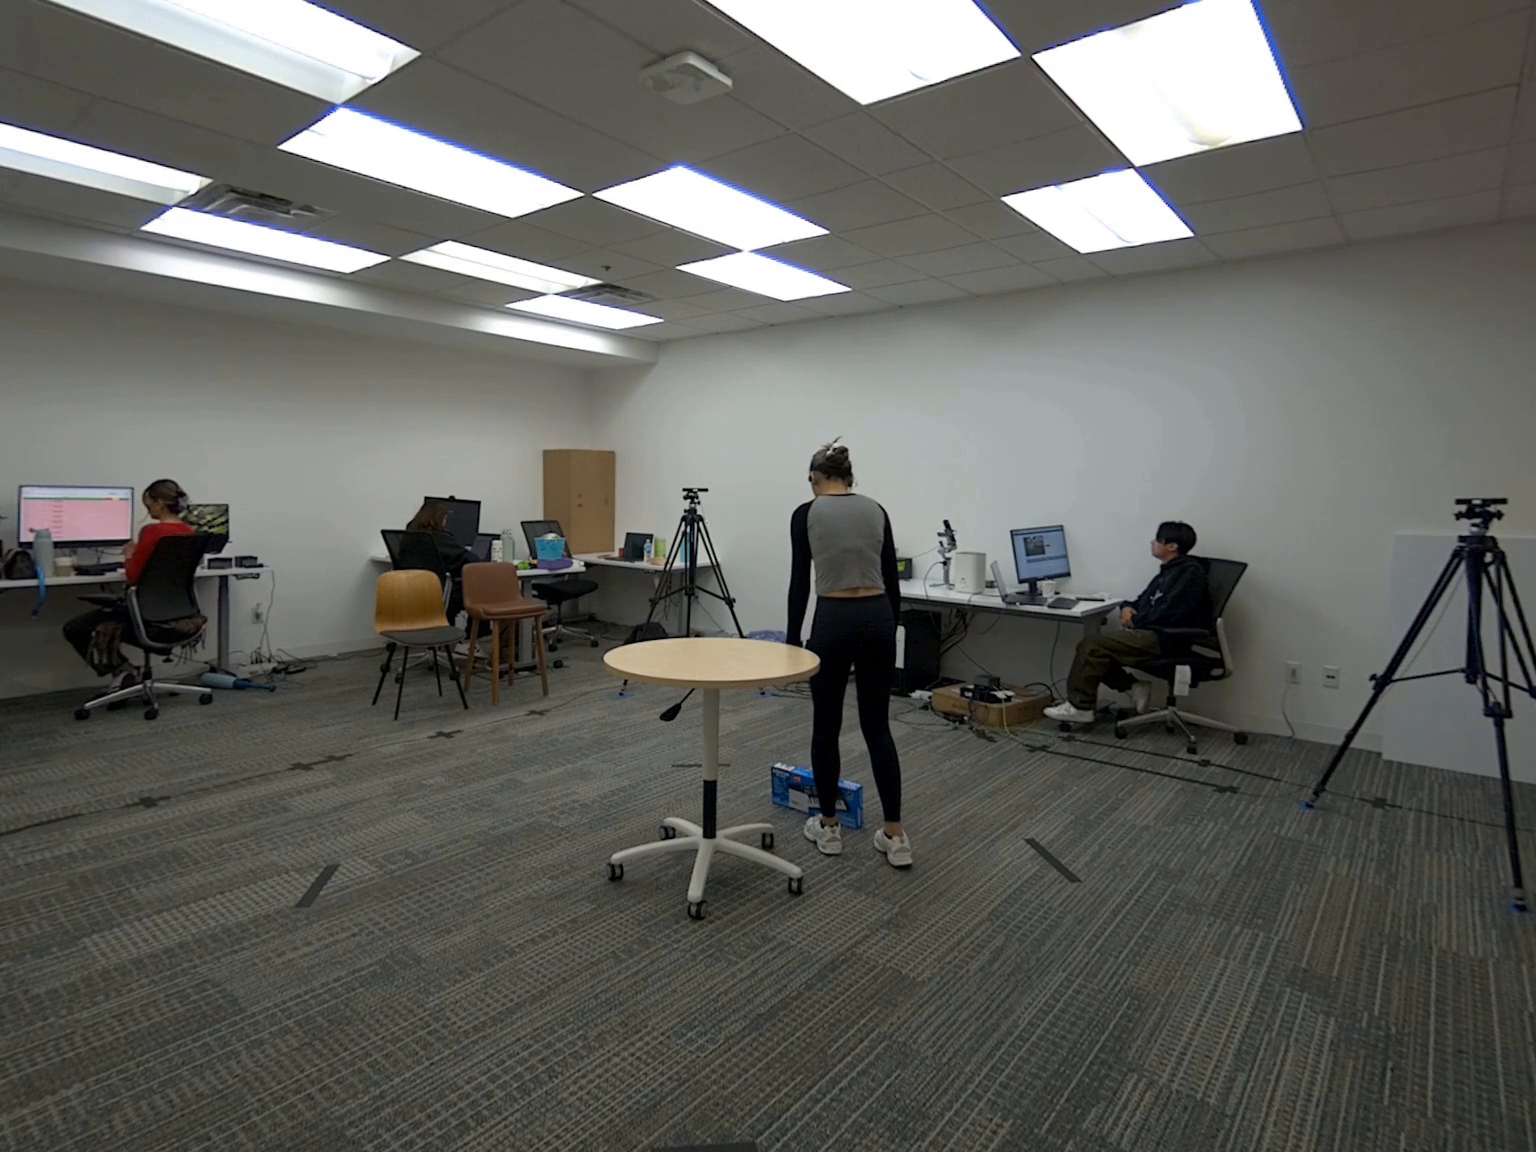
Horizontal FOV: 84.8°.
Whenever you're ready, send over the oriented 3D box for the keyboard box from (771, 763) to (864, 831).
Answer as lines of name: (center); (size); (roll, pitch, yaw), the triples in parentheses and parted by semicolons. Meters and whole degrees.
keyboard box: (0.197, 0.938, 3.662); (0.452, 0.174, 0.057); (6, 11, 39)
